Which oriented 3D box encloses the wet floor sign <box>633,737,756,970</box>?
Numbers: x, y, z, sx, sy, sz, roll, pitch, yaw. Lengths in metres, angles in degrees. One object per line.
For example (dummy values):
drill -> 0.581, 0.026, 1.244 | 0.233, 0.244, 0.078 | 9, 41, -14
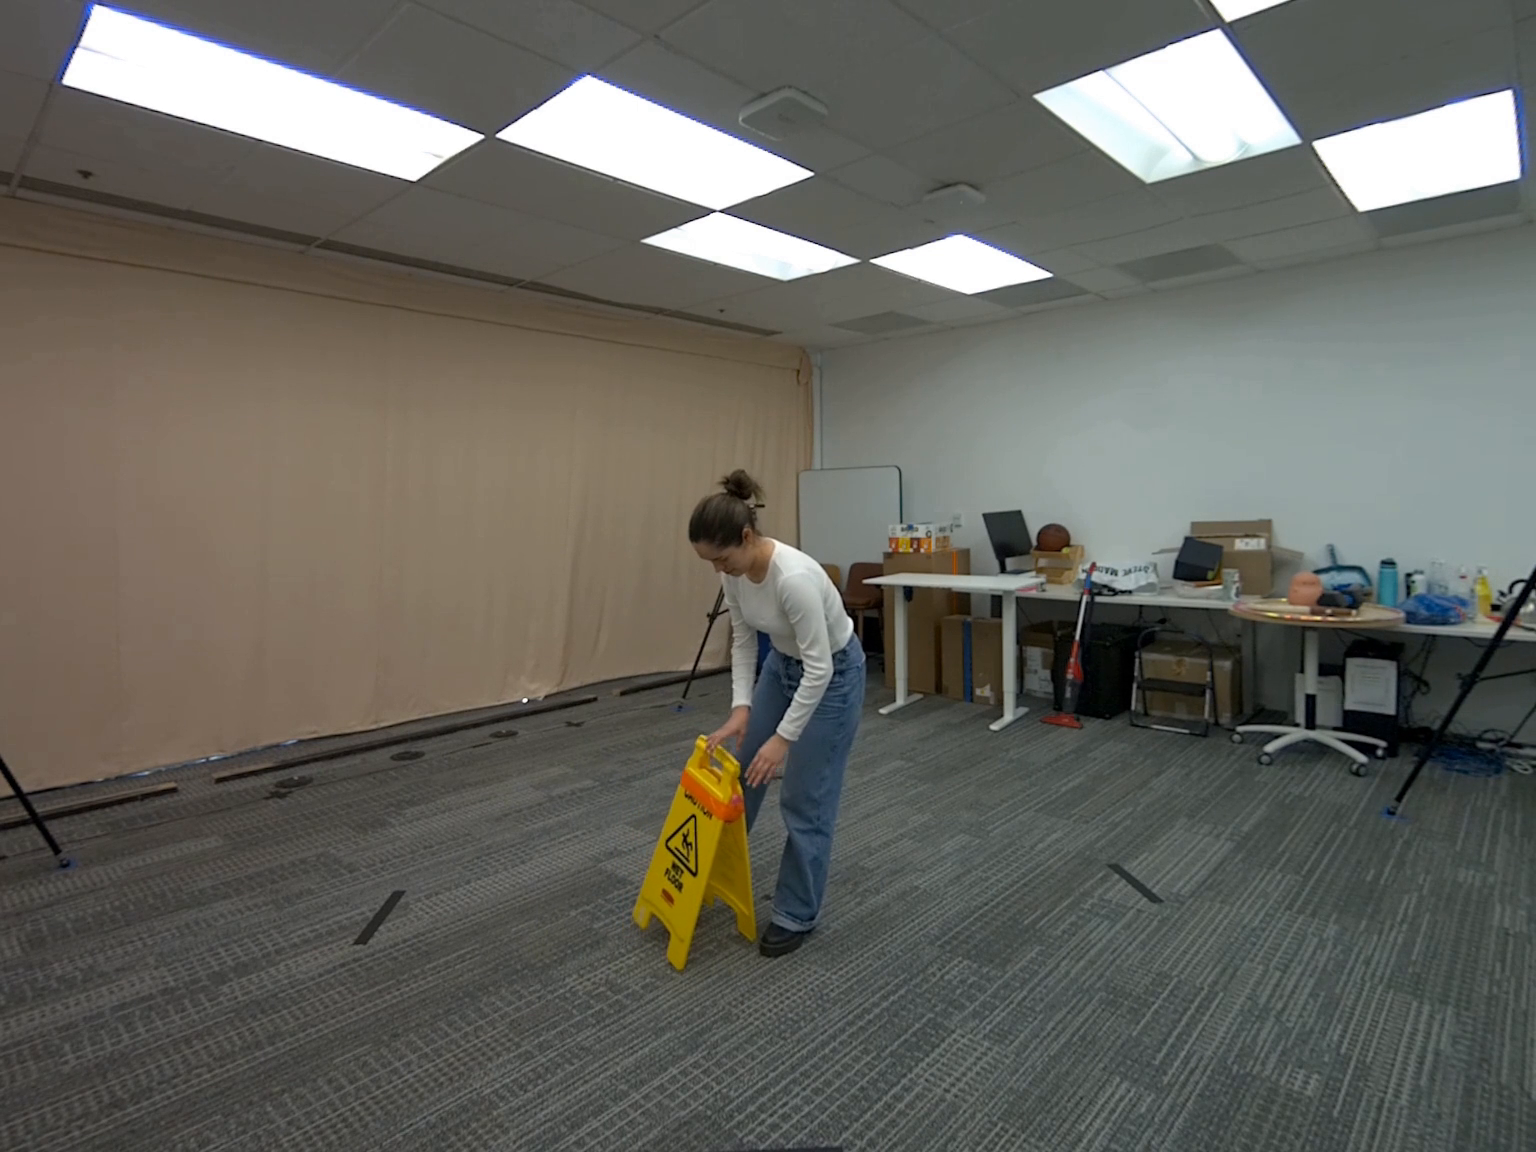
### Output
wet floor sign -> -0.192, 0.834, 2.629 | 0.281, 0.642, 0.293 | -3, 19, -40
